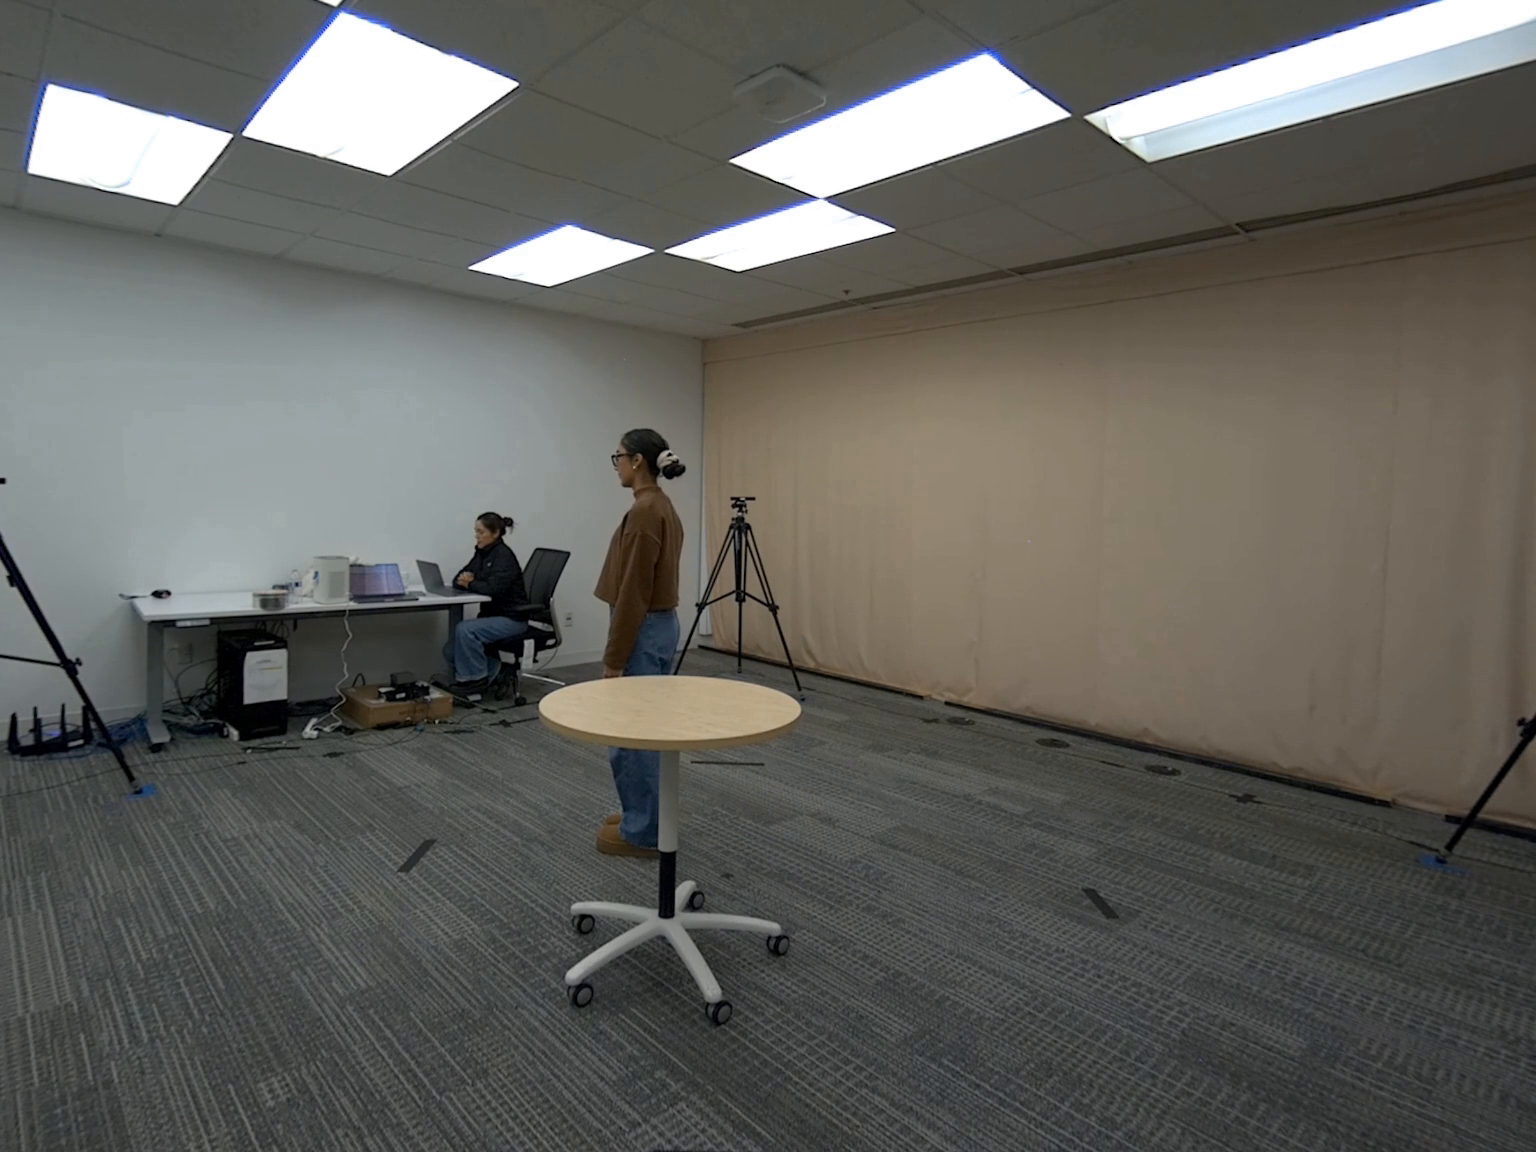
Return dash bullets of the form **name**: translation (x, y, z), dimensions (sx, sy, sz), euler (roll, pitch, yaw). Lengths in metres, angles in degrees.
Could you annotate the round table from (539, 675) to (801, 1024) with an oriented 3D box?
- **round table**: translation (-0.296, 0.770, 2.489), dimensions (0.784, 0.784, 0.788), euler (1, 4, -1)
